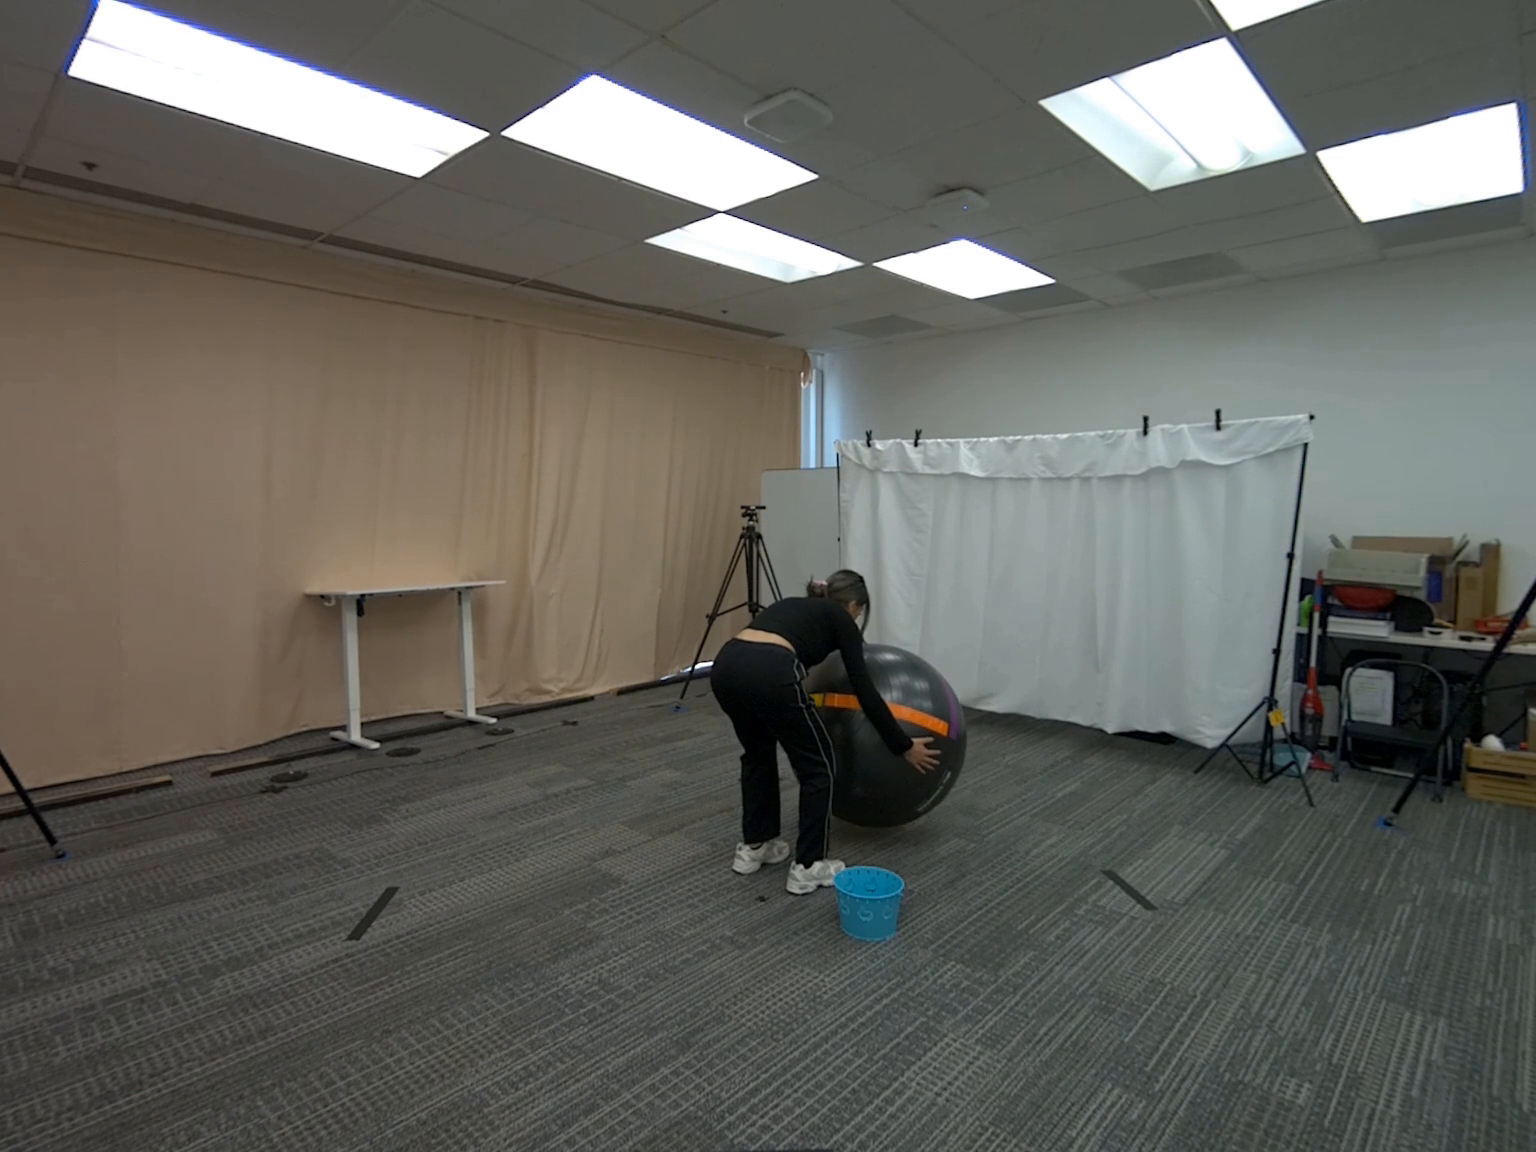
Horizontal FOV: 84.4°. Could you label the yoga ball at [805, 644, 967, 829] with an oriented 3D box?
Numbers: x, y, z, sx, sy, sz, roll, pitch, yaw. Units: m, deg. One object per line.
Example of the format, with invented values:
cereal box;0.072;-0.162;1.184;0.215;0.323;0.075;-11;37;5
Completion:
yoga ball;0.456;0.669;3.583;0.757;0.756;0.760;0;4;-2
